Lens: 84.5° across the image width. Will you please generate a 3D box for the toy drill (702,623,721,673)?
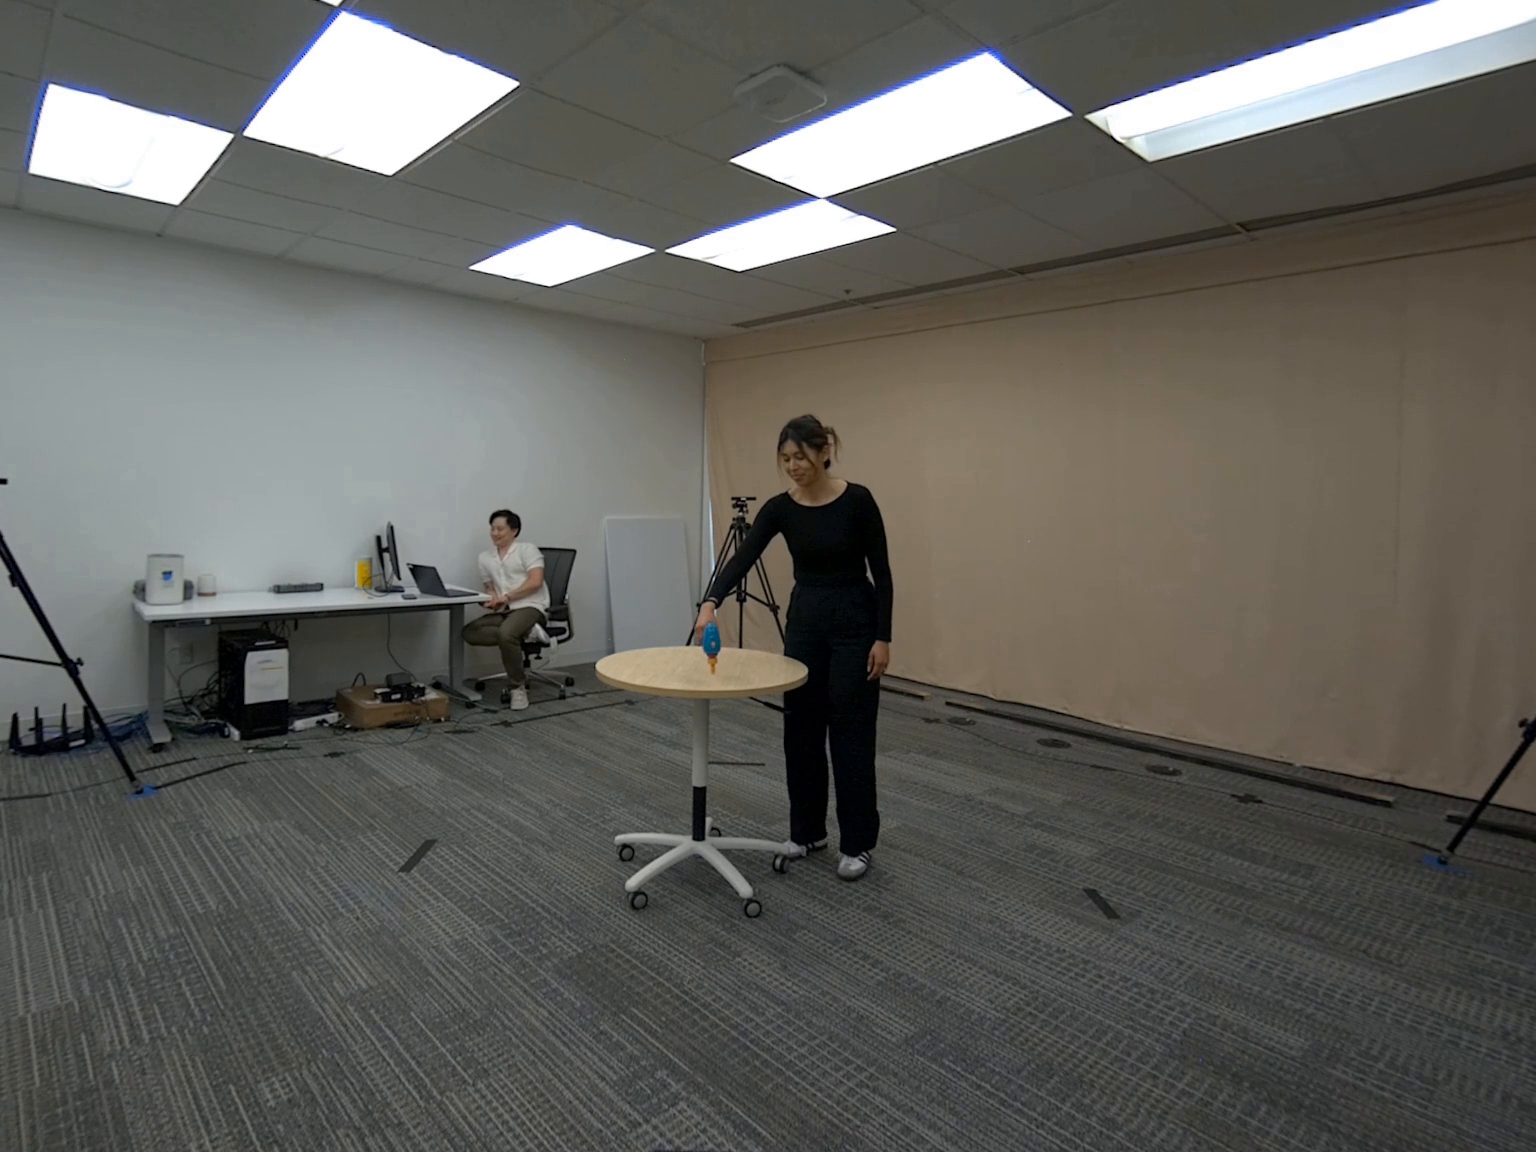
[{"bbox_3d":[-0.200,0.240,2.822,0.061,0.169,0.147,-7,3,-10],"label":"toy drill"}]
